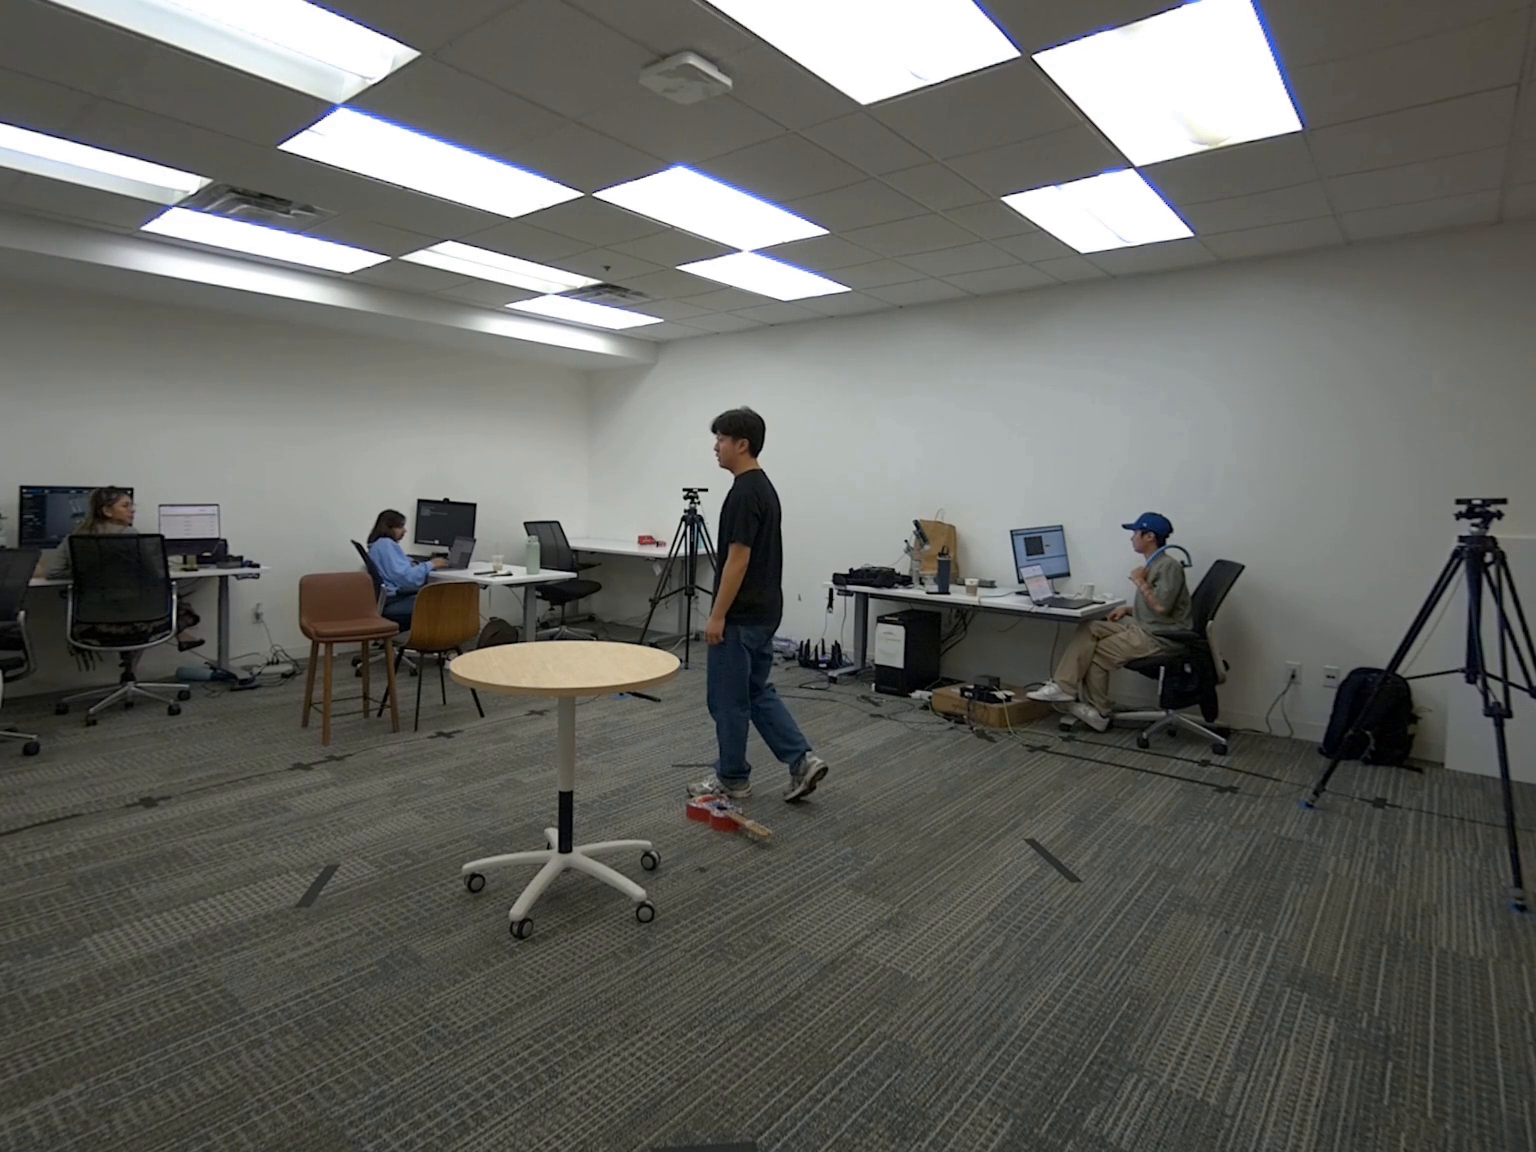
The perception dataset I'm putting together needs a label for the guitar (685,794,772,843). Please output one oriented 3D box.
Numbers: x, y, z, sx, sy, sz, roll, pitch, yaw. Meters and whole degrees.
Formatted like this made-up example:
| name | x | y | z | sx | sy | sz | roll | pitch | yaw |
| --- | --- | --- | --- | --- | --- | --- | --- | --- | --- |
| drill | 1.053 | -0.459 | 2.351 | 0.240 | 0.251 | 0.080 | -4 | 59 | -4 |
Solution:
| name | x | y | z | sx | sy | sz | roll | pitch | yaw |
| --- | --- | --- | --- | --- | --- | --- | --- | --- | --- |
| guitar | -0.183 | 1.000 | 3.482 | 0.188 | 0.070 | 0.512 | -1 | 6 | -27 |
